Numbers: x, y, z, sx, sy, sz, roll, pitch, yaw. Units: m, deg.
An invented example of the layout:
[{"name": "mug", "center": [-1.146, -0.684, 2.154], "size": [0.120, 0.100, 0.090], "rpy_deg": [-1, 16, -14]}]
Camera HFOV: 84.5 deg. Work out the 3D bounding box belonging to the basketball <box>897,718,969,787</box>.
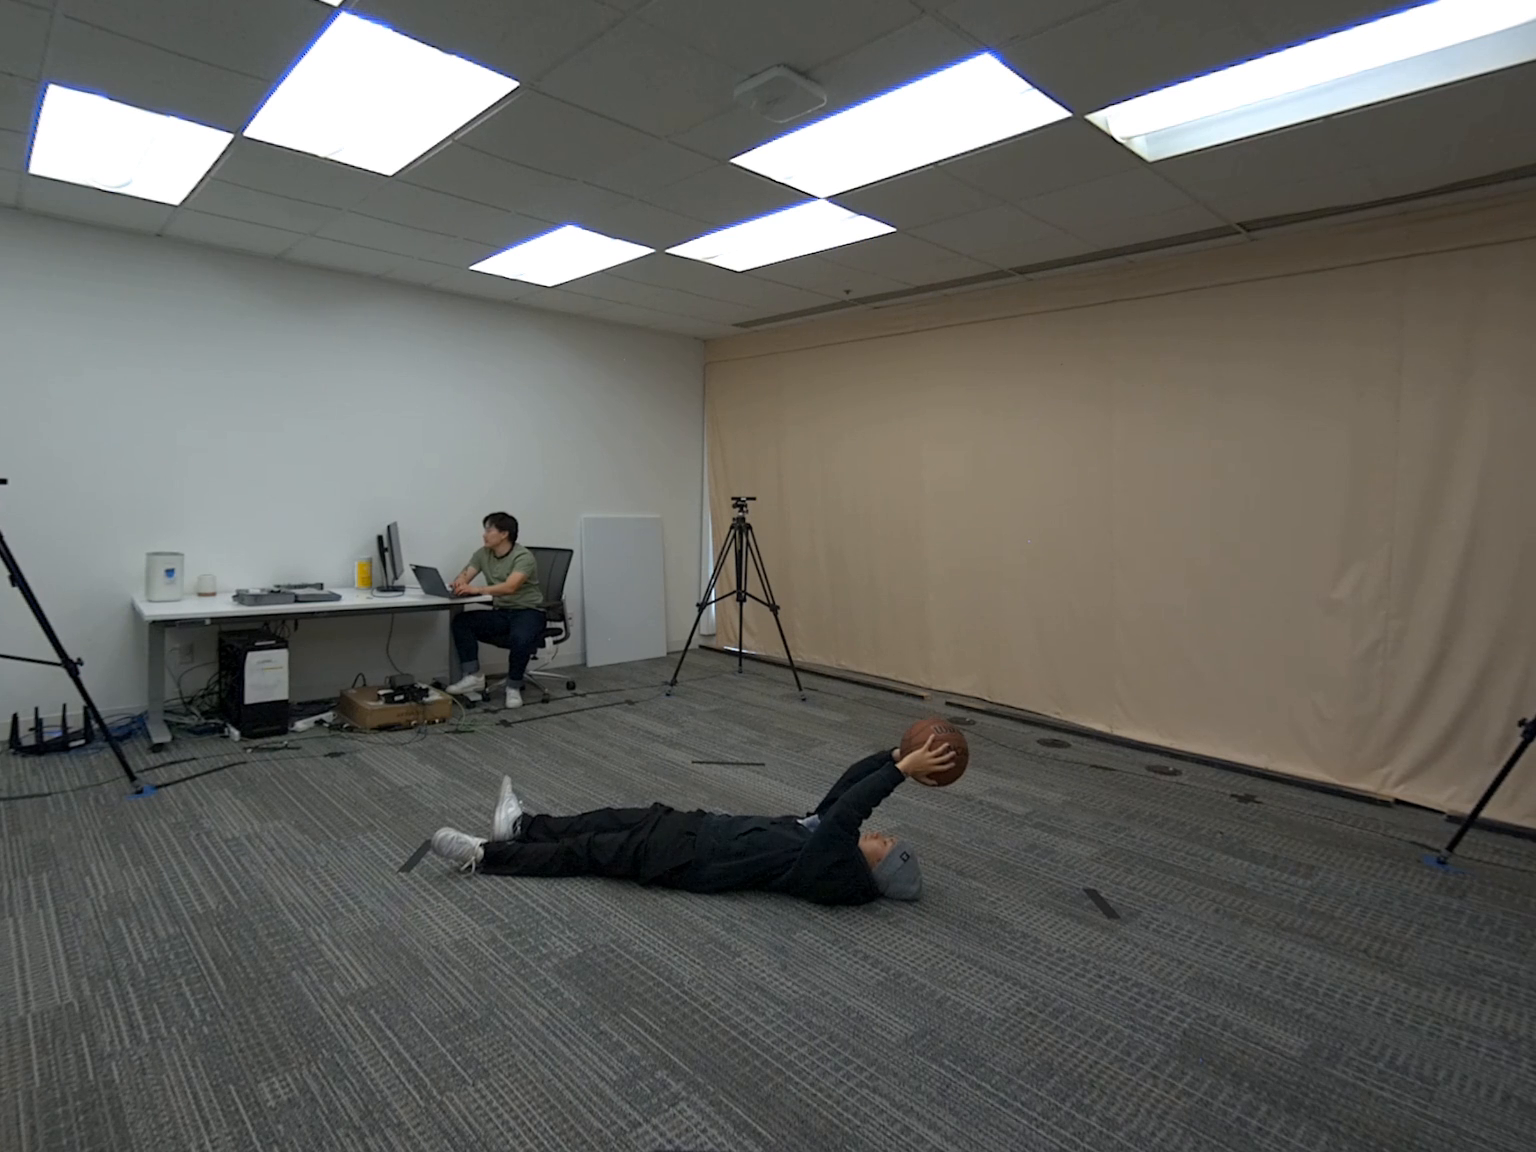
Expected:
[{"name": "basketball", "center": [0.577, 0.620, 2.980], "size": [0.236, 0.235, 0.237], "rpy_deg": [1, 4, -1]}]
